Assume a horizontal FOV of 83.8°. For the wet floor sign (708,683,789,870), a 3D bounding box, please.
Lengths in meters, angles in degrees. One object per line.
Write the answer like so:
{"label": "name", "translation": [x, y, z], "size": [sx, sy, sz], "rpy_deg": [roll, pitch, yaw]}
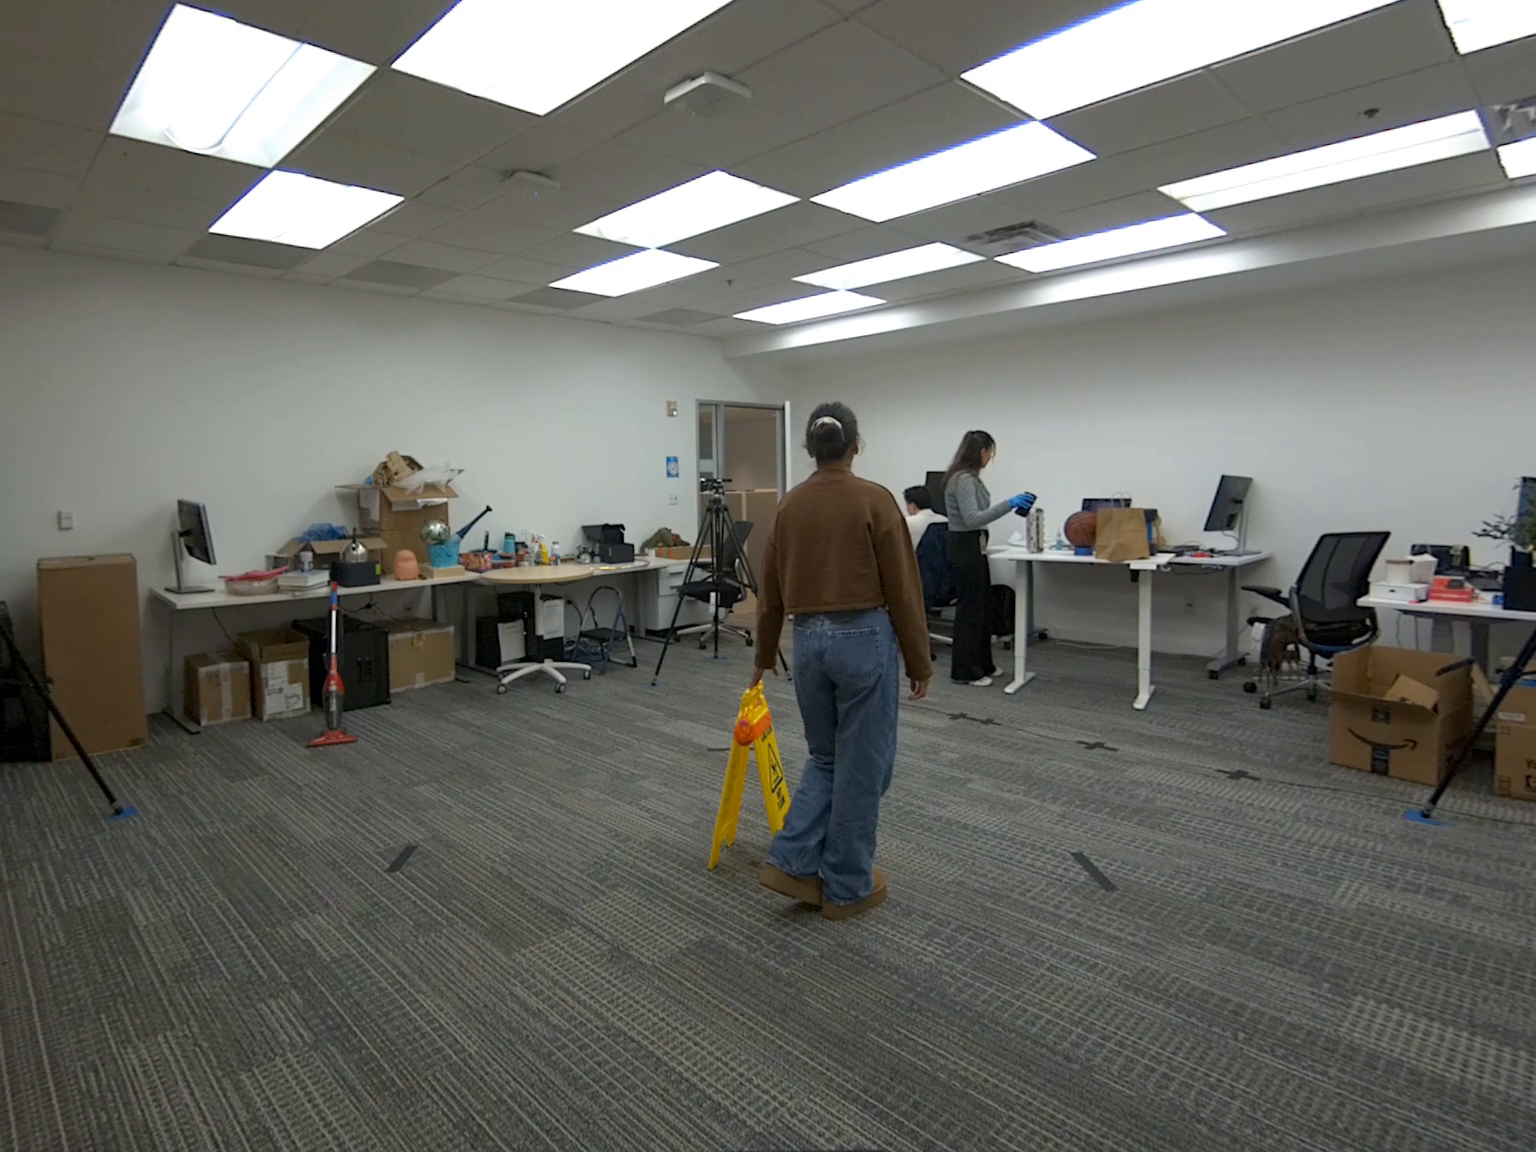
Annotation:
{"label": "wet floor sign", "translation": [-0.053, 0.719, 3.127], "size": [0.294, 0.645, 0.278], "rpy_deg": [-1, 2, 16]}
